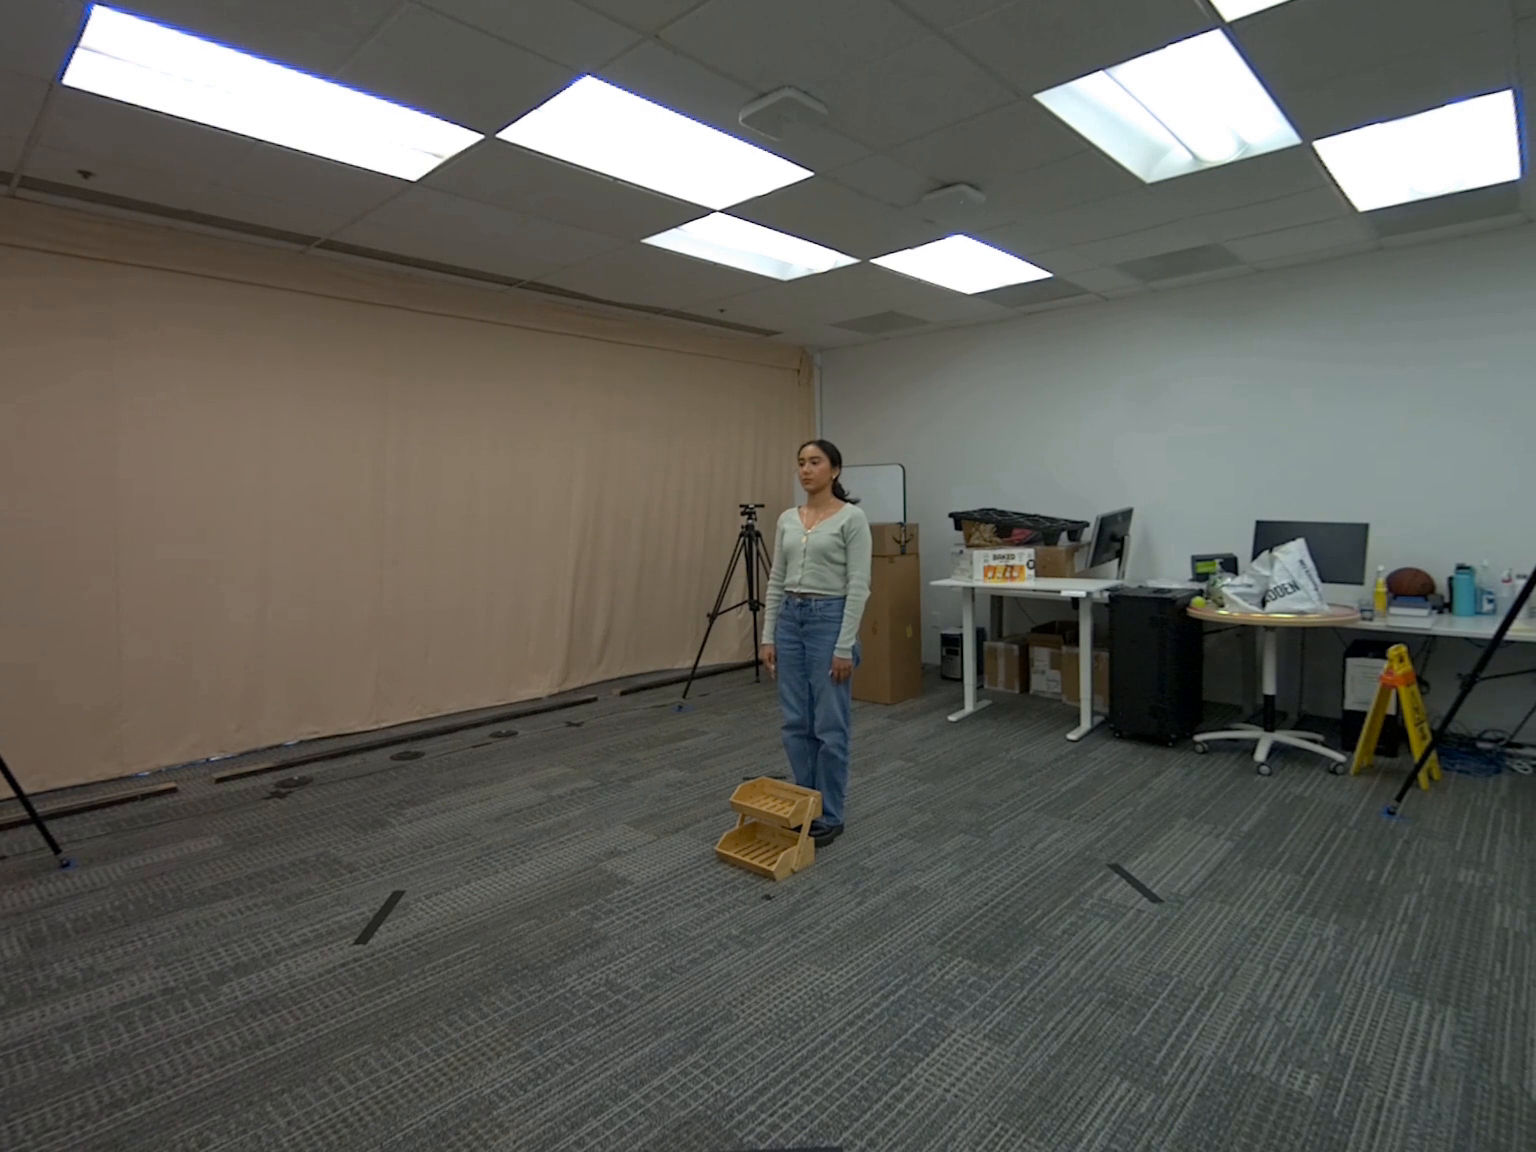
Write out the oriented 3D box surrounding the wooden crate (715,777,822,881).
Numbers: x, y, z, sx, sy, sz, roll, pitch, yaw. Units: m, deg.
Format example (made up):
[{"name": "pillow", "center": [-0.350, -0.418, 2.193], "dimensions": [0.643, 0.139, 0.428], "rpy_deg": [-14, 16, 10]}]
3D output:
[{"name": "wooden crate", "center": [0.001, 0.976, 3.296], "dimensions": [0.335, 0.273, 0.293], "rpy_deg": [3, 5, 41]}]
